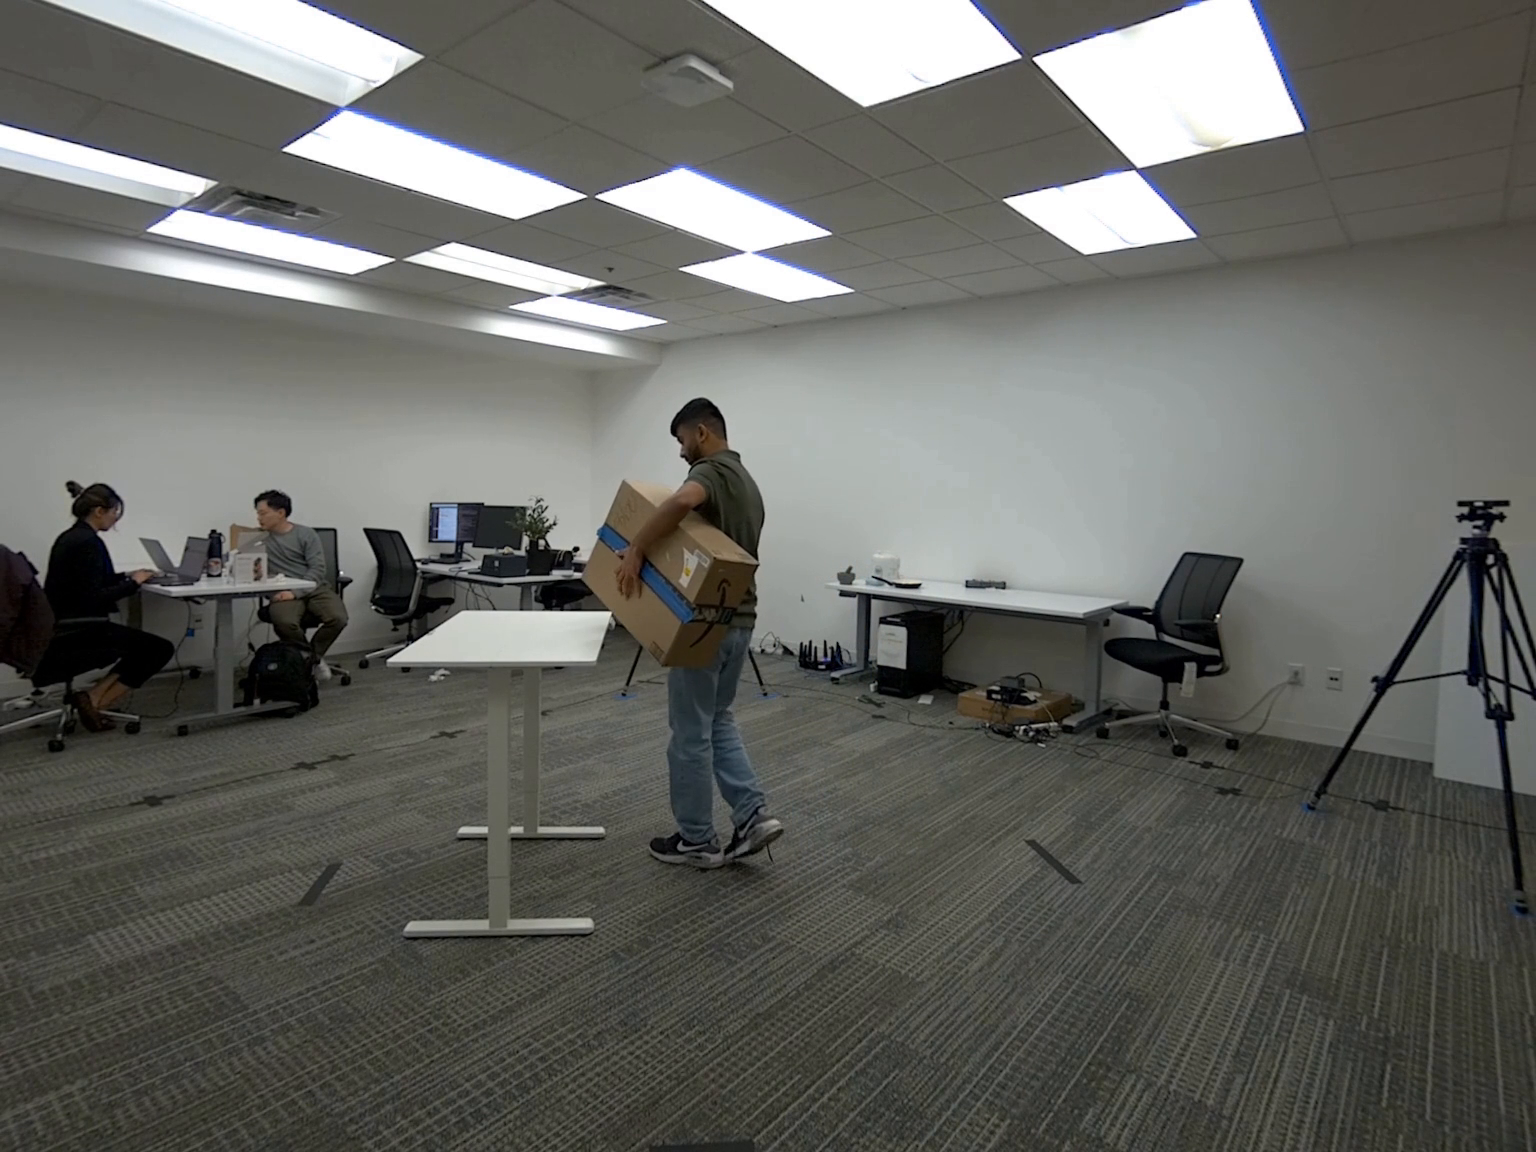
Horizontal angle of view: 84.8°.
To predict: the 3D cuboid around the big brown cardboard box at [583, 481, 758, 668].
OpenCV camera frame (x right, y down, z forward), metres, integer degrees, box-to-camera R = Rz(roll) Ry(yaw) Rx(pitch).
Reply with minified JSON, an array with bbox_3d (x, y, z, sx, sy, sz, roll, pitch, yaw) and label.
[{"bbox_3d":[-0.358,-0.018,2.950,0.225,0.414,0.614,8,23,-46],"label":"big brown cardboard box"}]
